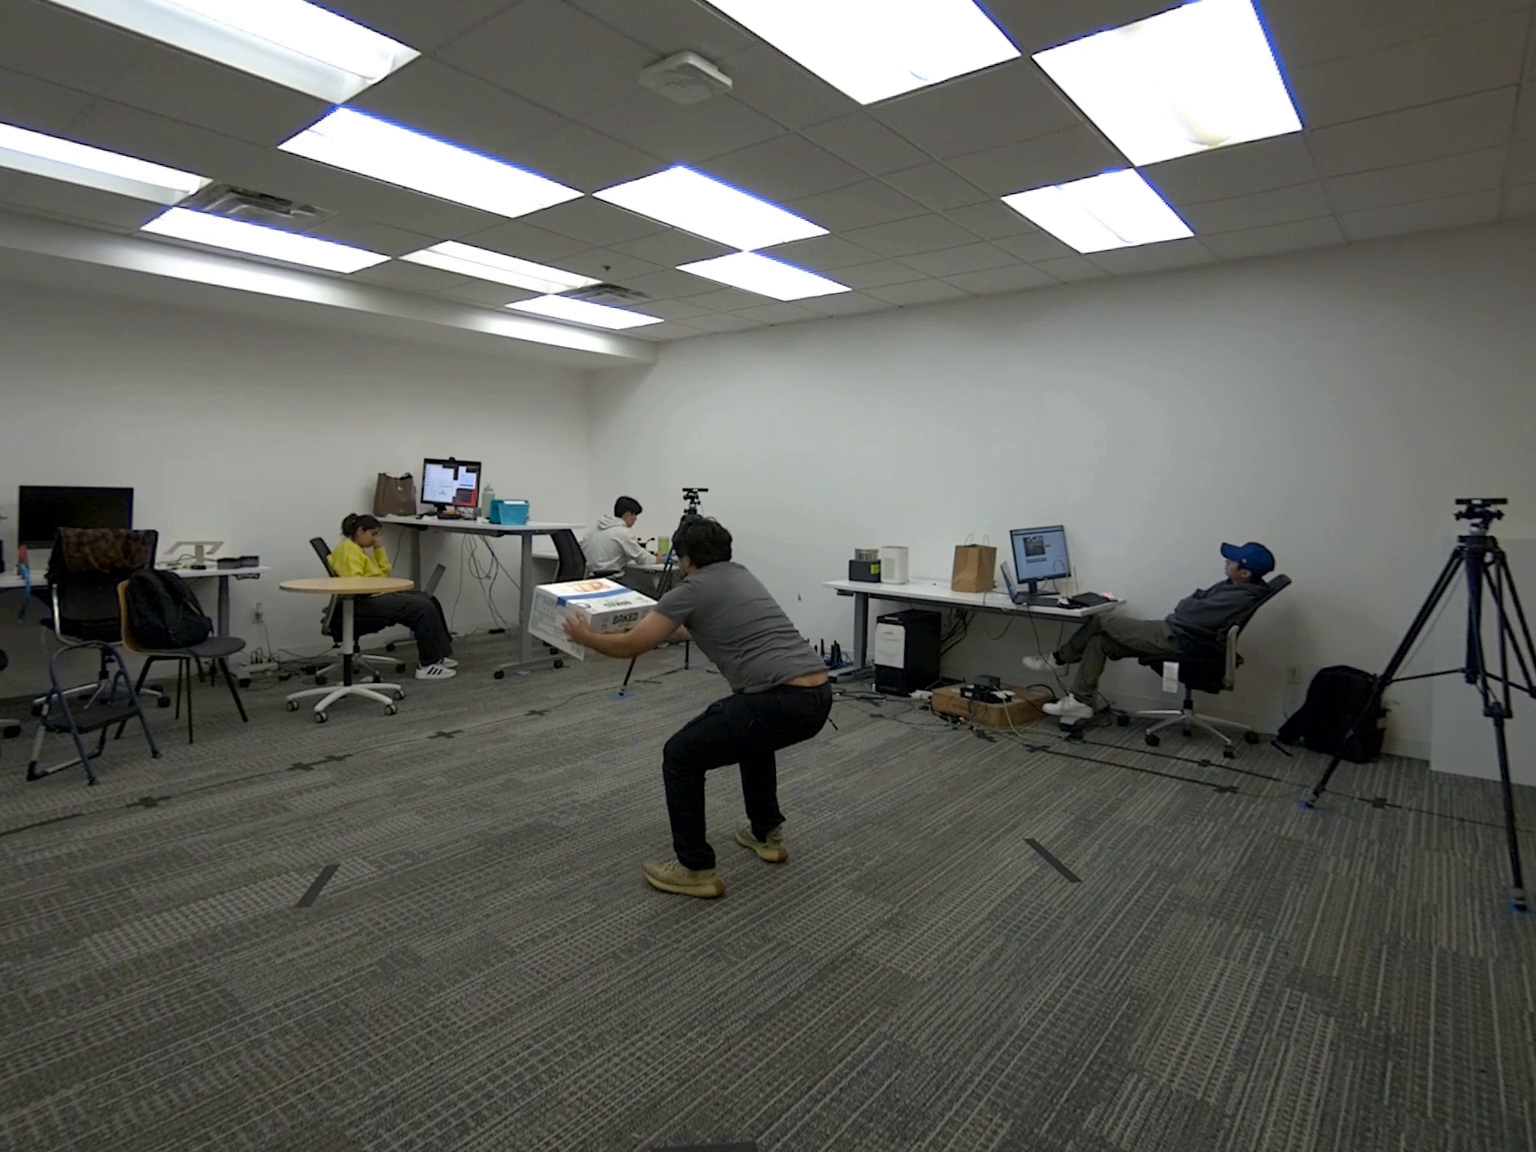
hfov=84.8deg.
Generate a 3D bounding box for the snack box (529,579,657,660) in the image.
[{"bbox_3d":[-0.732,0.174,3.546,0.353,0.204,0.394,19,15,32],"label":"snack box"}]
